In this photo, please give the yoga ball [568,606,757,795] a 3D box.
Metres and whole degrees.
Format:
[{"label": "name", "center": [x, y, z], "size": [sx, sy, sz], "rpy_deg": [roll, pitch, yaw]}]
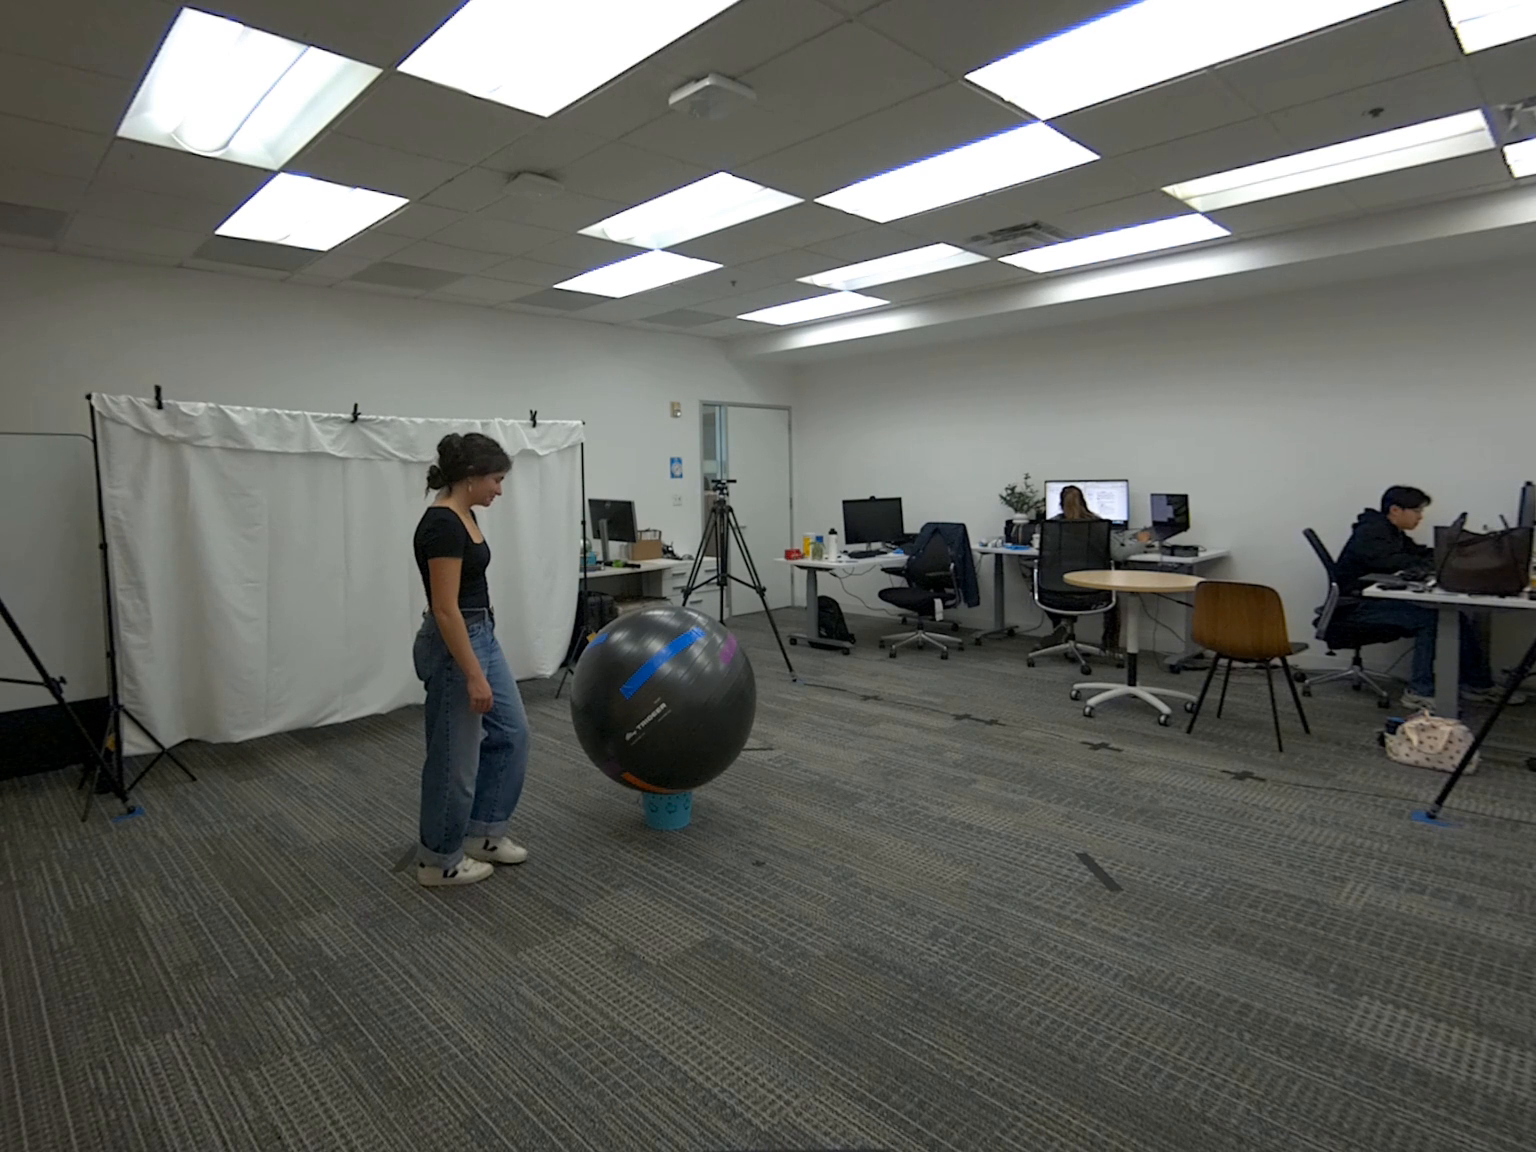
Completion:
[{"label": "yoga ball", "center": [-0.438, 0.505, 3.501], "size": [0.757, 0.755, 0.762], "rpy_deg": [-1, 5, -2]}]
